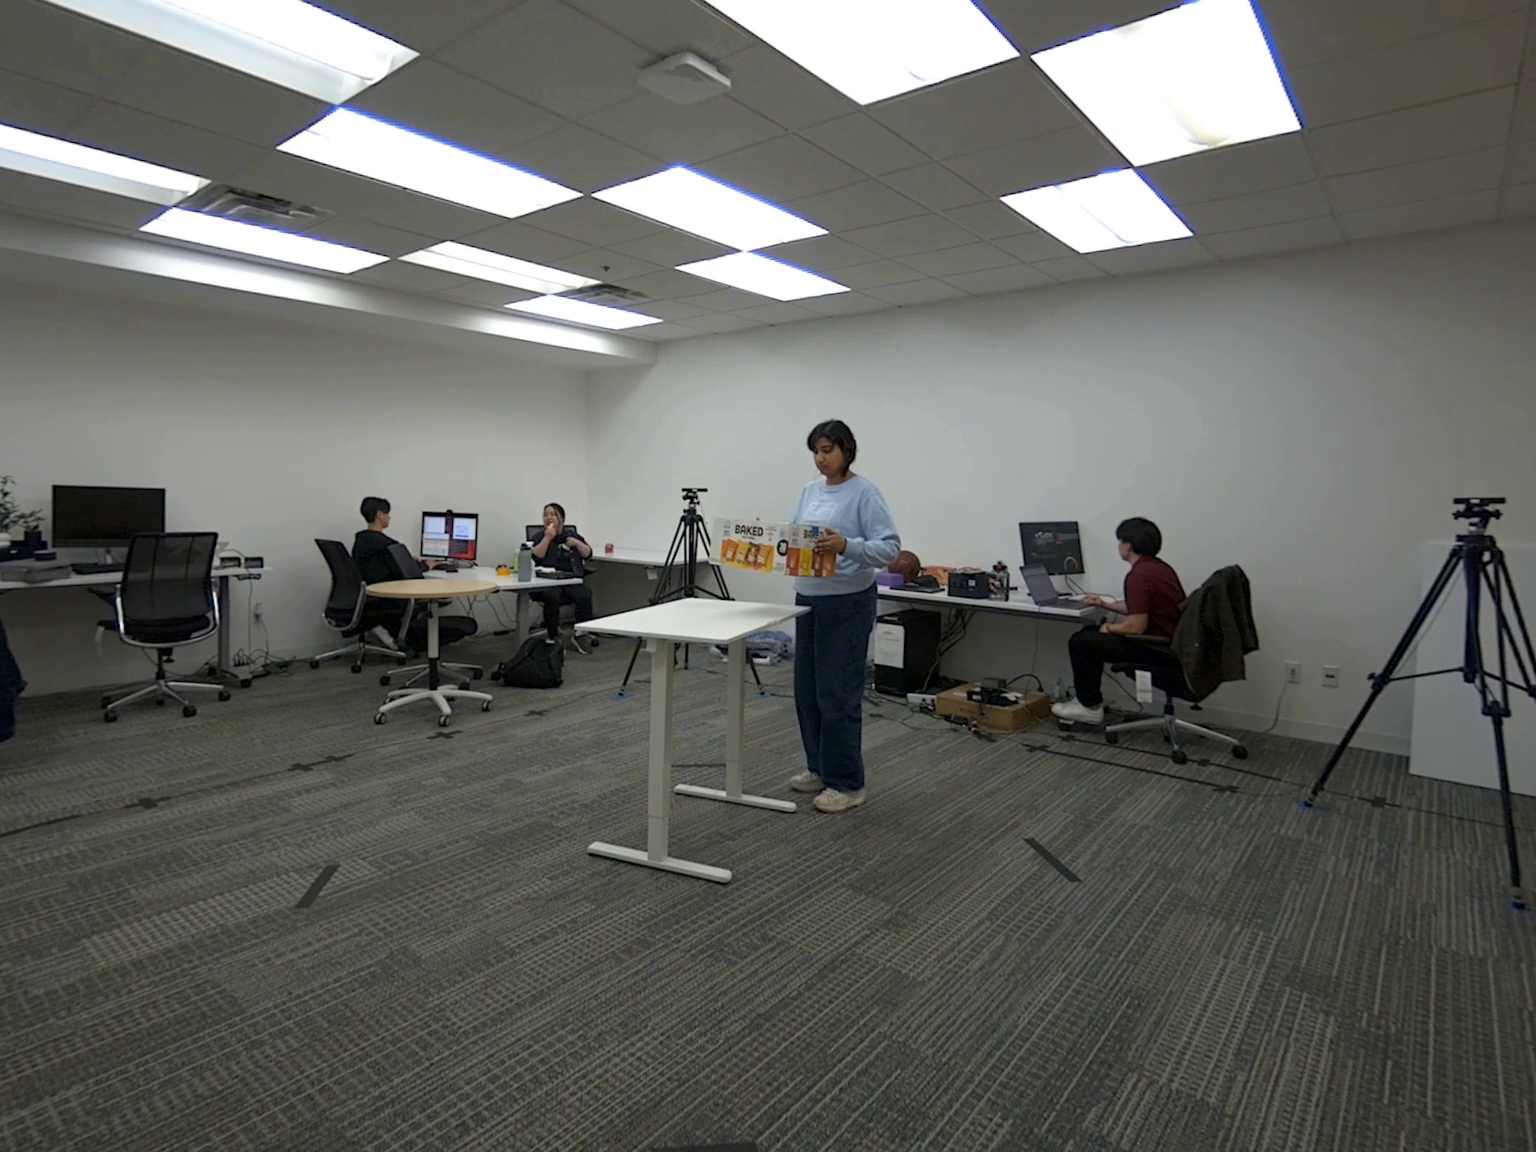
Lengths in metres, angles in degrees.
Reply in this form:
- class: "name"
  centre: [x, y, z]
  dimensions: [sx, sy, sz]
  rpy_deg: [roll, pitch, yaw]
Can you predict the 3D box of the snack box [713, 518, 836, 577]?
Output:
- class: "snack box"
  centre: [0.014, -0.124, 3.549]
  dimensions: [0.419, 0.205, 0.329]
  rpy_deg: [8, 3, 41]
